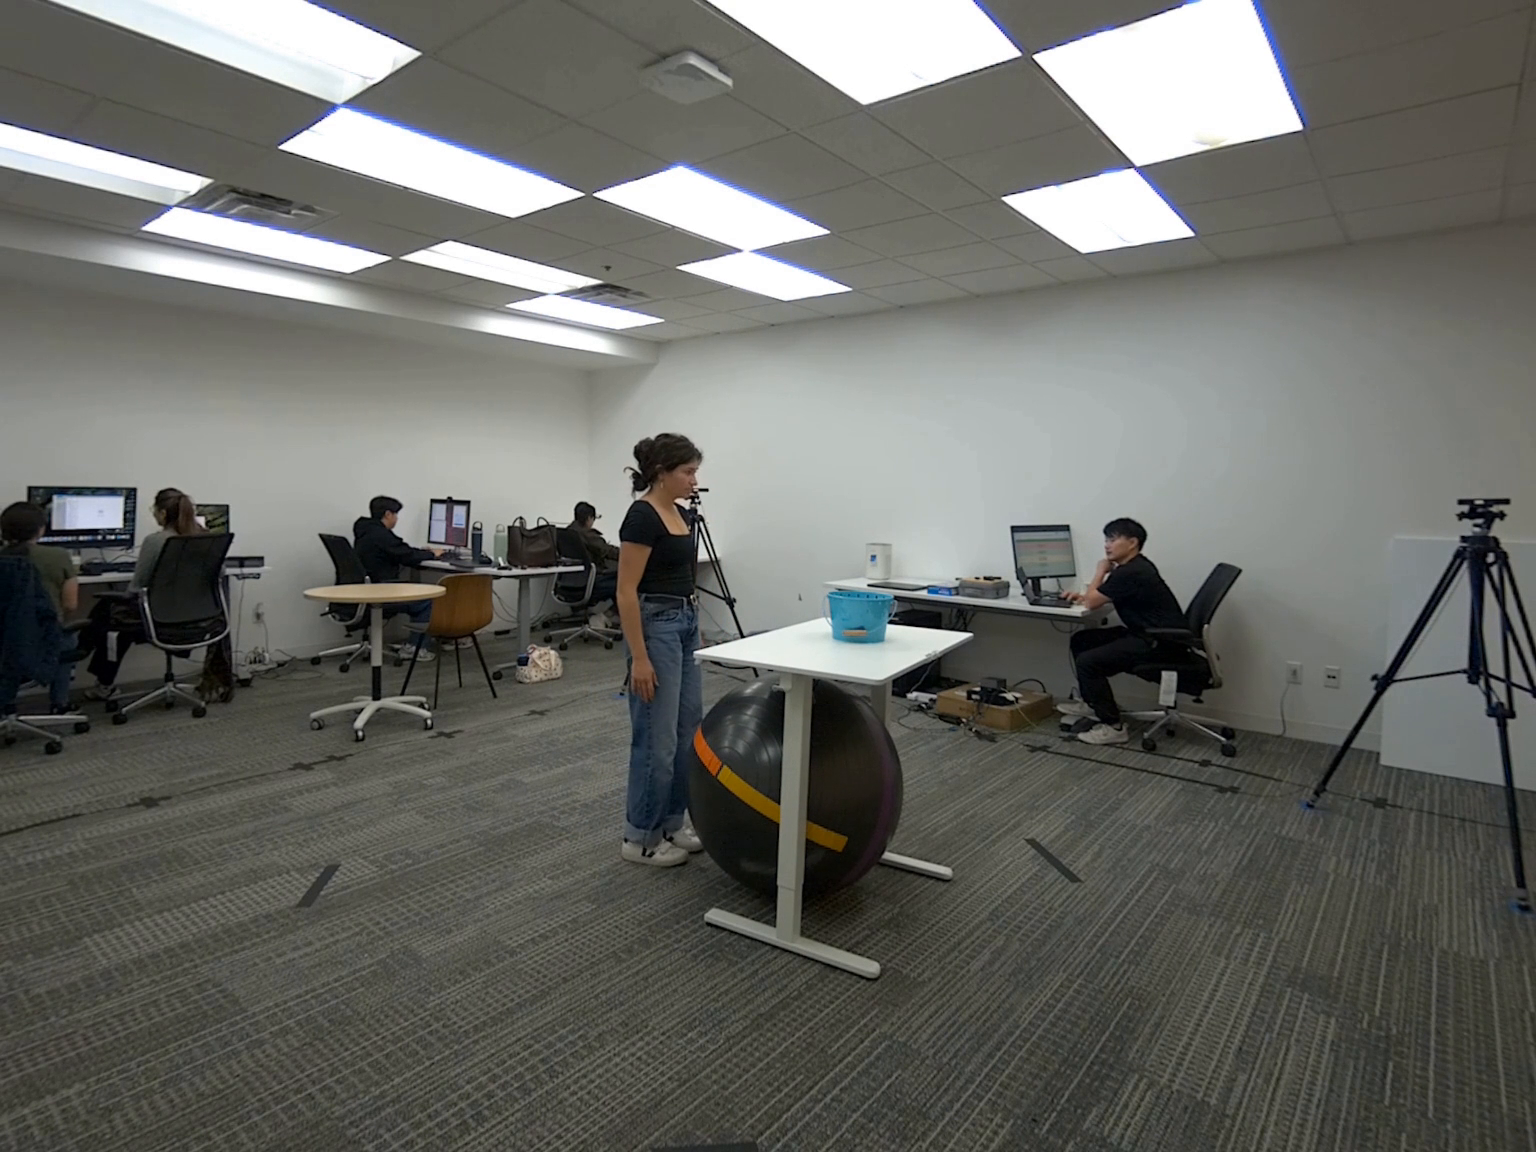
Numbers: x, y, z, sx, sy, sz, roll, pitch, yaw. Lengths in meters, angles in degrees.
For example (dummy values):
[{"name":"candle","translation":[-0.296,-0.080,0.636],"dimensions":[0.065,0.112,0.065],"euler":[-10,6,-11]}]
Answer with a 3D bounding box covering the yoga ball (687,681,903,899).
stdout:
[{"name":"yoga ball","translation":[0.084,0.727,2.972],"dimensions":[0.757,0.756,0.762],"euler":[1,4,-2]}]
